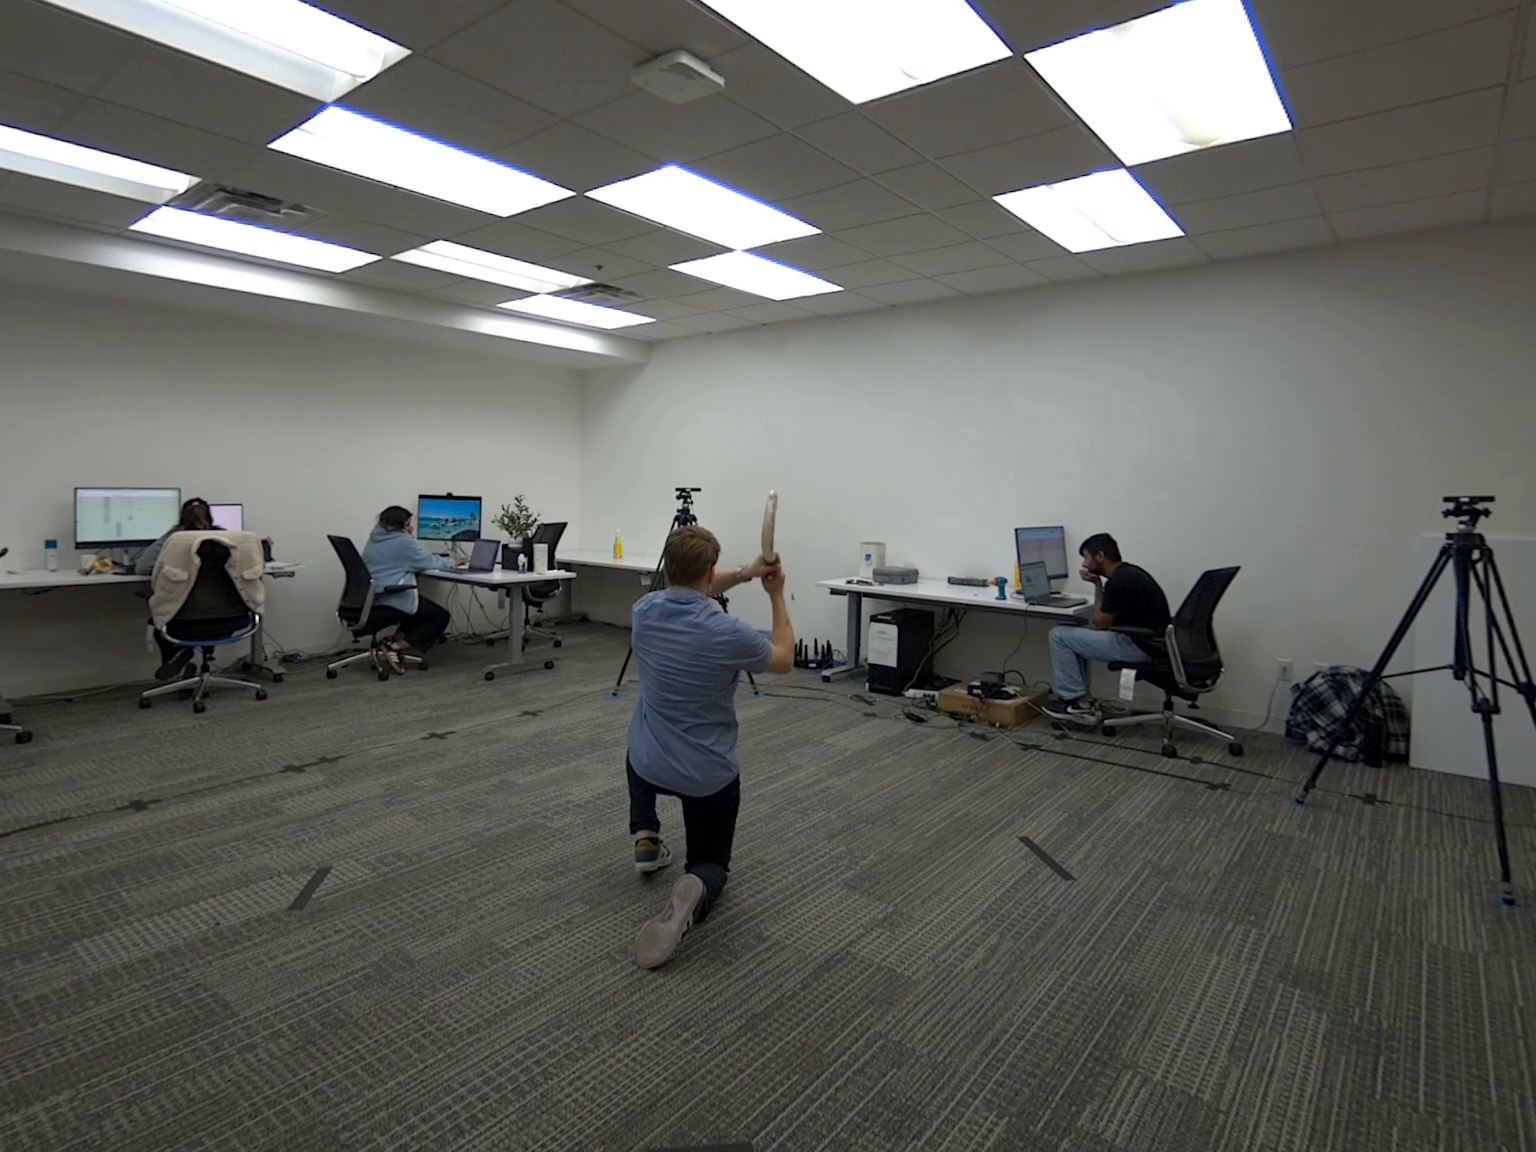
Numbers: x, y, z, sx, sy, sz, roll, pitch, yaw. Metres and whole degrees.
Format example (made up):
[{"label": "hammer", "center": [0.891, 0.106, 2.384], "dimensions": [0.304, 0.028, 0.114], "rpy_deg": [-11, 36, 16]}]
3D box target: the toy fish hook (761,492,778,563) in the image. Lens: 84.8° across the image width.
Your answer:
[{"label": "toy fish hook", "center": [-0.003, -0.118, 2.897], "dimensions": [0.048, 0.228, 0.496], "rpy_deg": [11, -22, 3]}]
